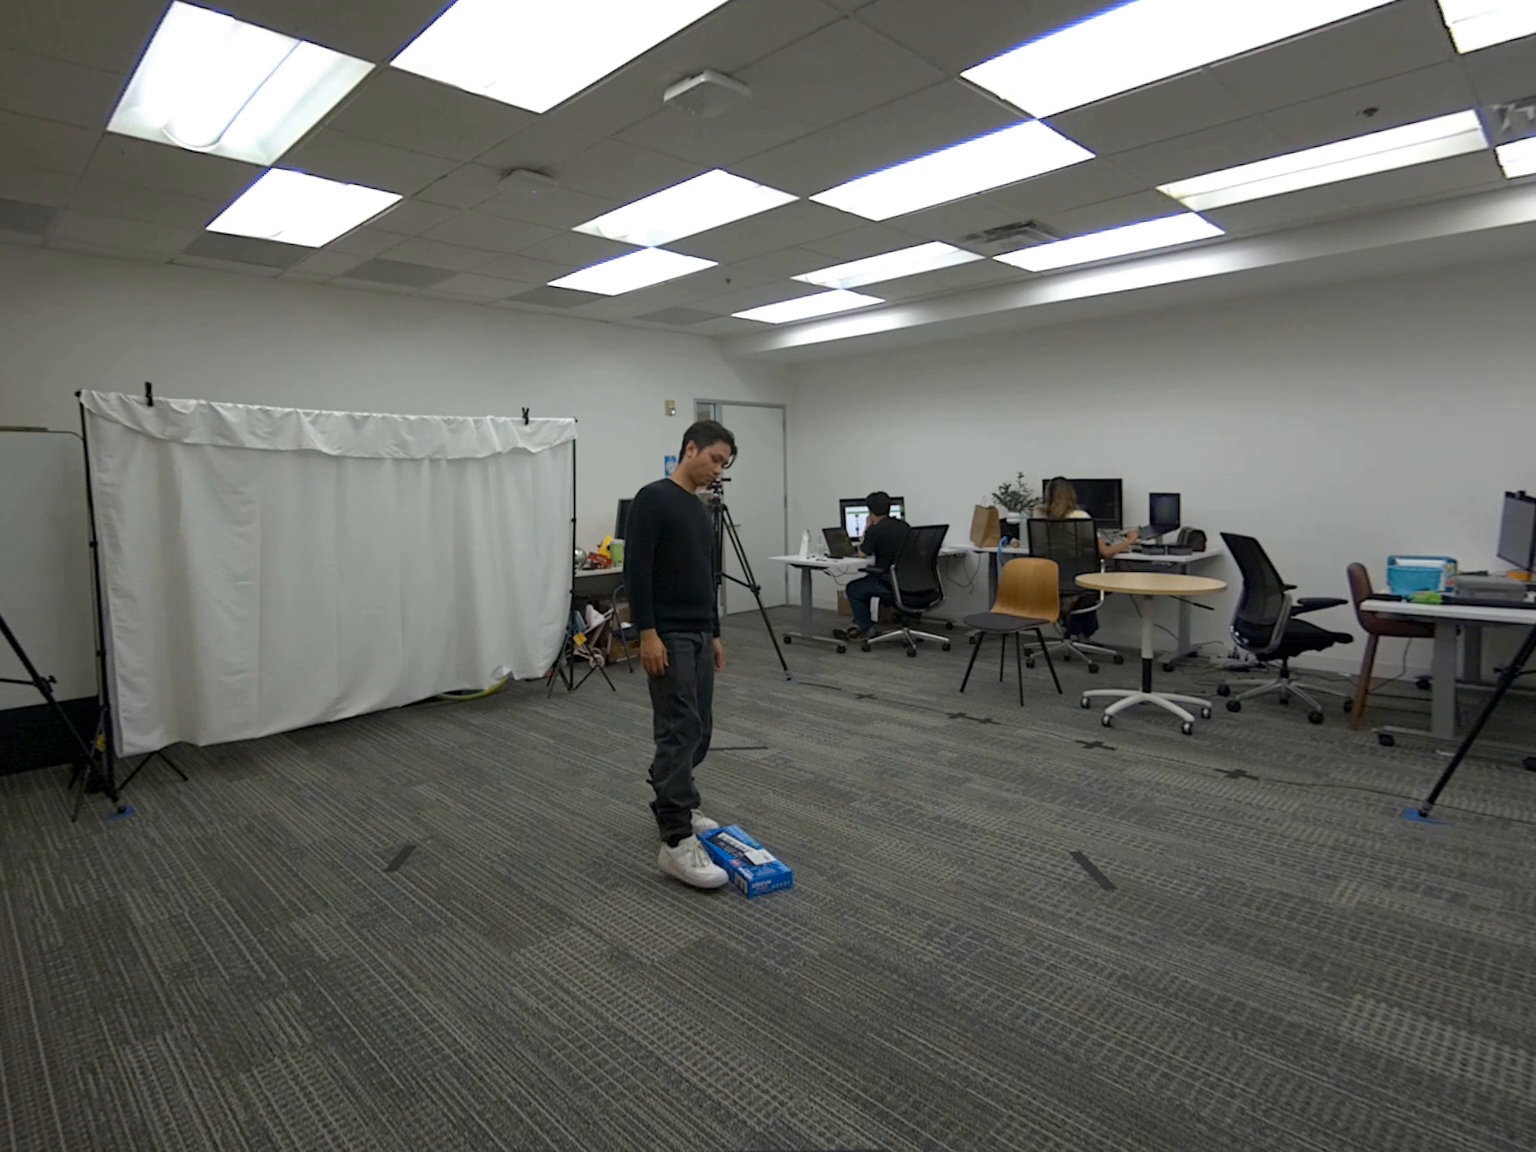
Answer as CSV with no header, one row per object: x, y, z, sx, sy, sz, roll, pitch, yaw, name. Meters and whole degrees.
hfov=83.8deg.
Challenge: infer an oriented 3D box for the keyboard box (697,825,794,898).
-0.092,1.016,3.078,0.172,0.059,0.449,-5,8,-28,keyboard box
